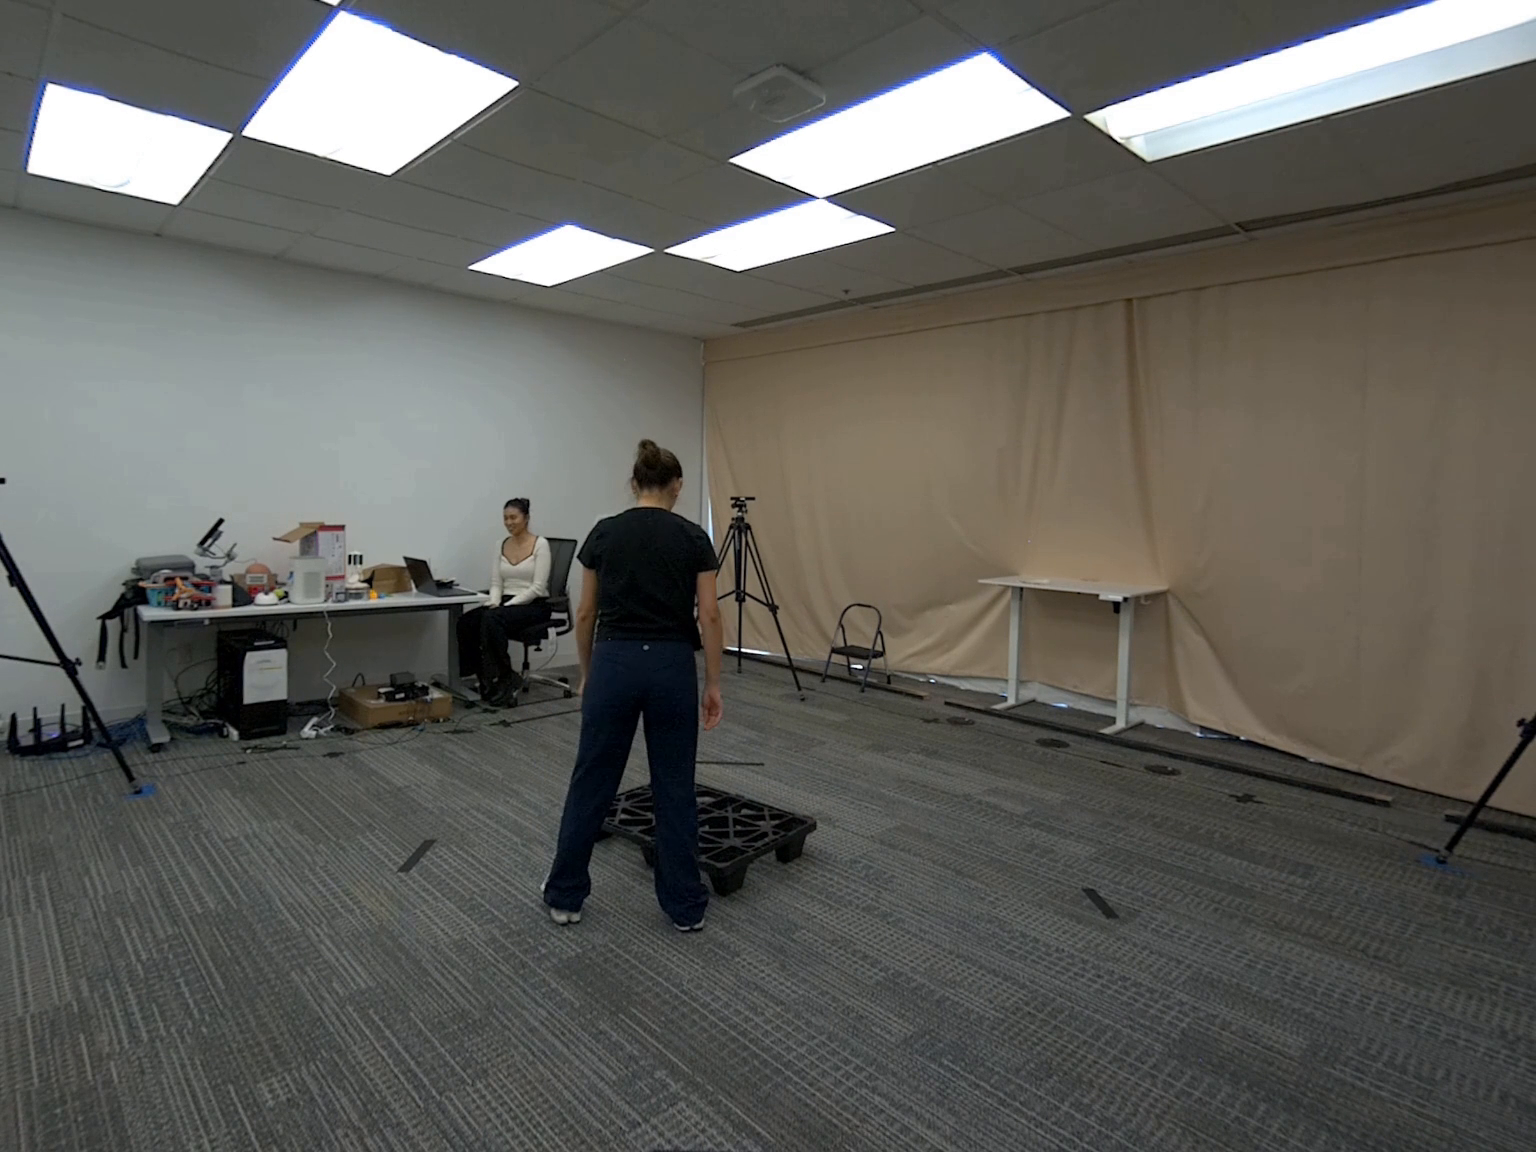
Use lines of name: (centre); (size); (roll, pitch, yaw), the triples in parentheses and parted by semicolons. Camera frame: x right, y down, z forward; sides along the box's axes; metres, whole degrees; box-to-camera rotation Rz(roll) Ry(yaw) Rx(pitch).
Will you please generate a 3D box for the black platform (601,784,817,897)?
black platform: (-0.300, 1.017, 3.325); (0.825, 0.143, 0.592); (5, 7, 38)
